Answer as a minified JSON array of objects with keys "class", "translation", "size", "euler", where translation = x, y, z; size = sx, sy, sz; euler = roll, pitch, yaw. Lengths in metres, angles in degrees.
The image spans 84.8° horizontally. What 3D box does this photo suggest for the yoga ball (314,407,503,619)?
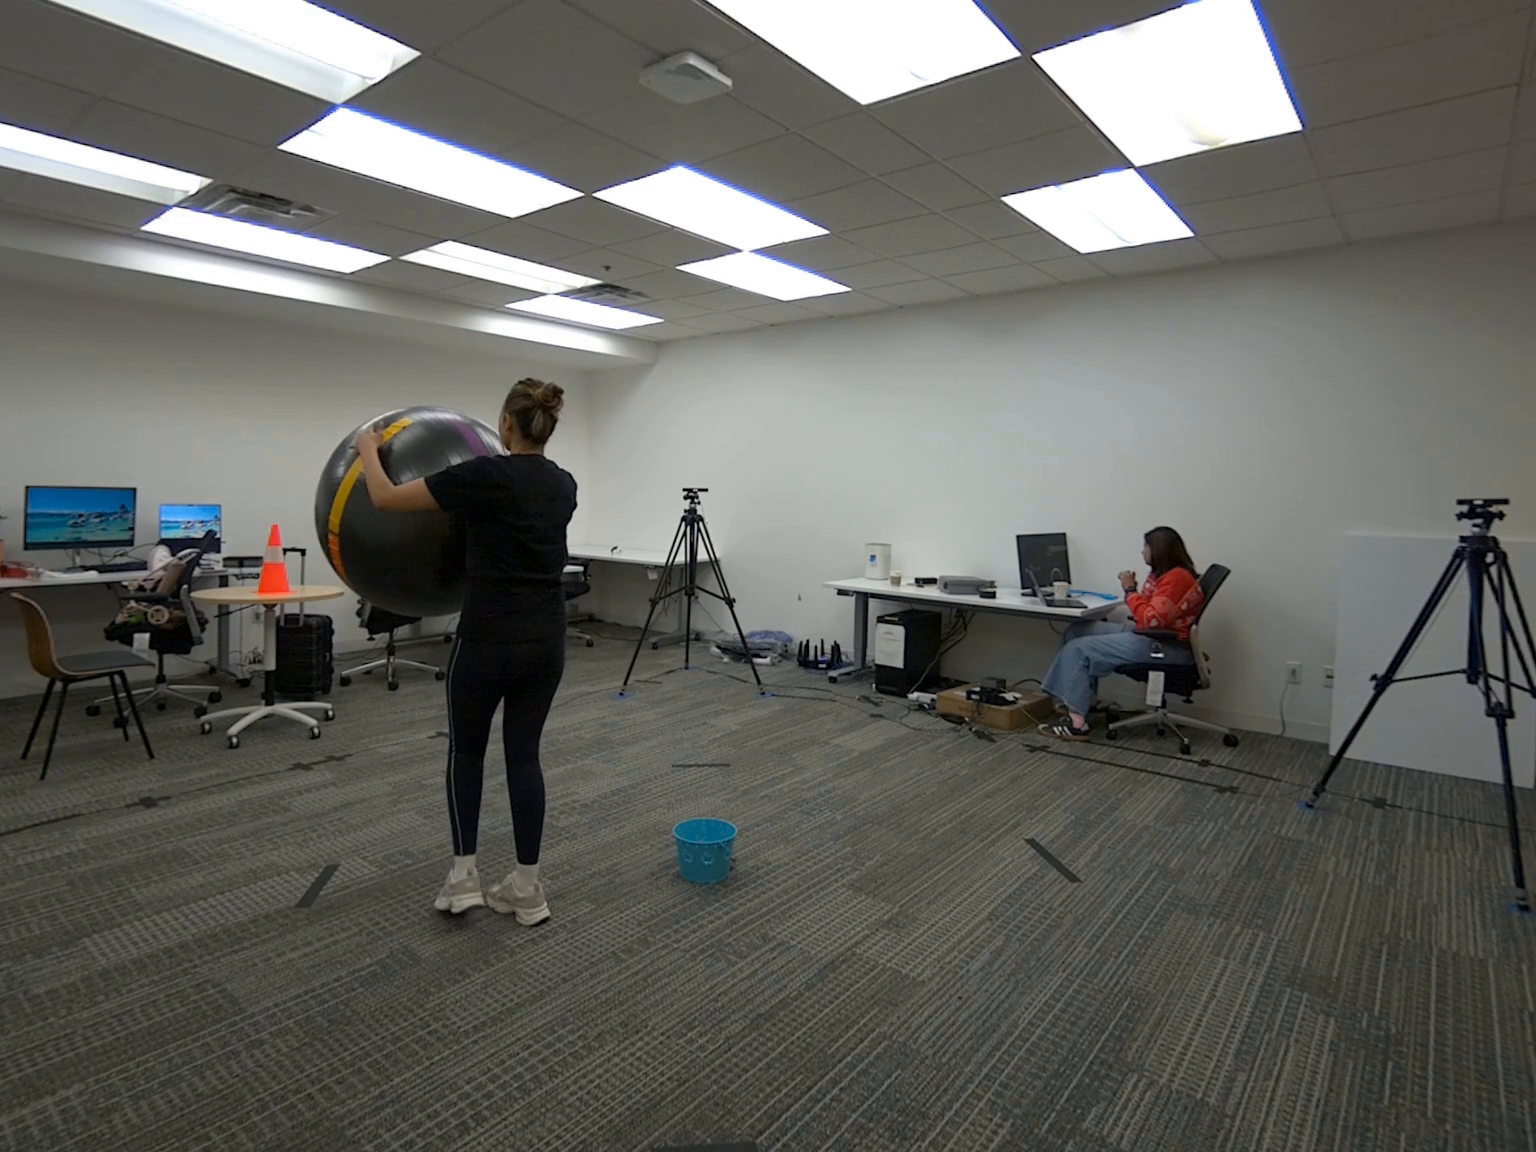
[{"class":"yoga ball","translation":[-1.247,-0.230,3.069],"size":[0.757,0.756,0.761],"euler":[1,4,-2]}]
